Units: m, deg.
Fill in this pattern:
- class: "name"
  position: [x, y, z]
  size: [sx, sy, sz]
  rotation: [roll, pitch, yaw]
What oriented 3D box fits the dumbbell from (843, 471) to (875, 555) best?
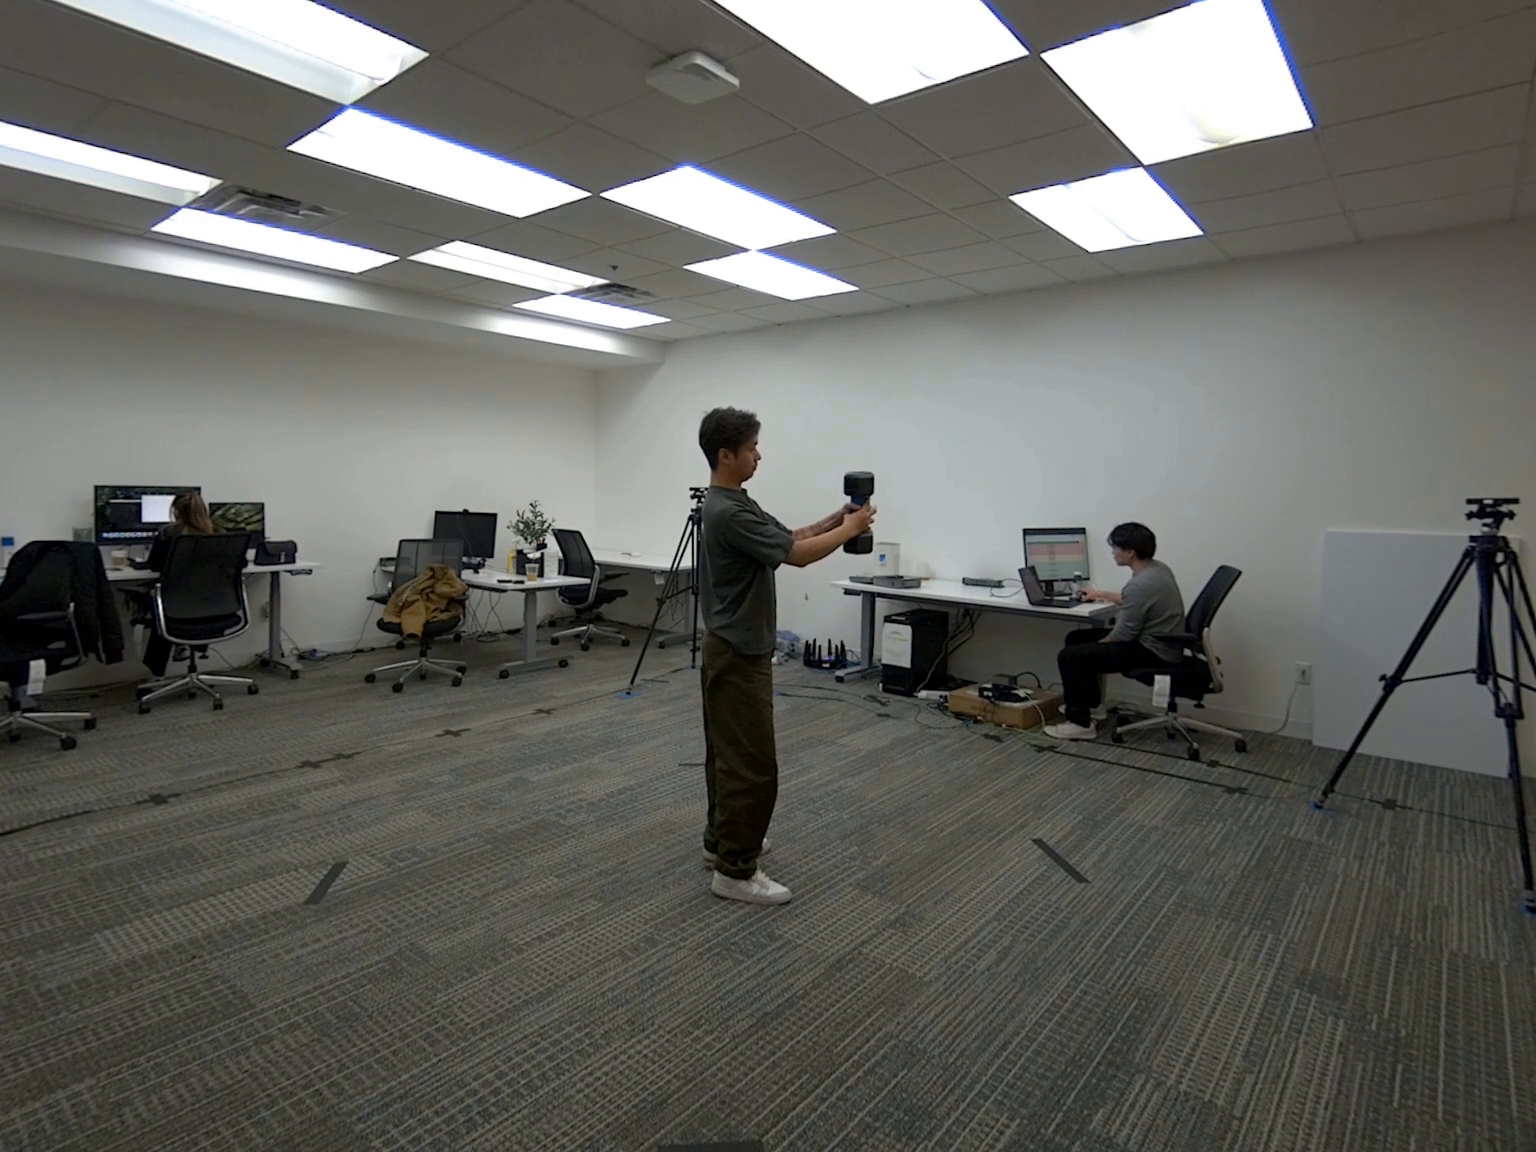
- class: "dumbbell"
  position: [0.320, -0.232, 3.081]
  size: [0.110, 0.290, 0.123]
  rotation: [2, 13, 11]
